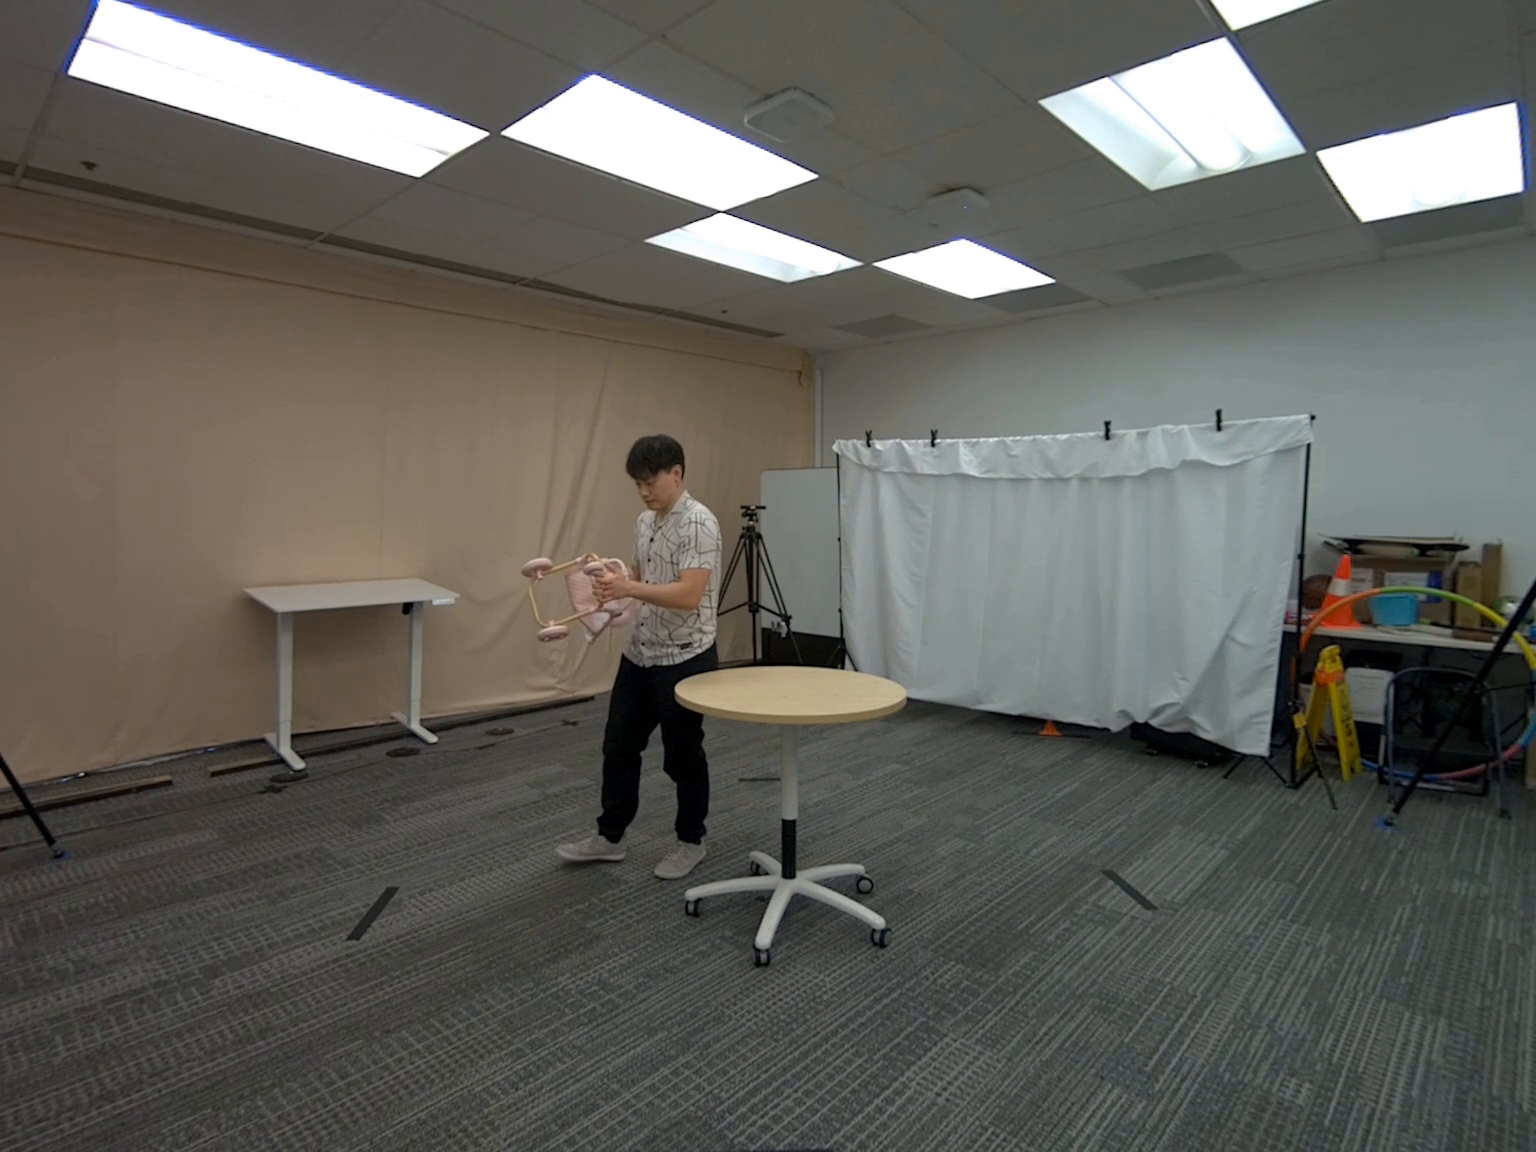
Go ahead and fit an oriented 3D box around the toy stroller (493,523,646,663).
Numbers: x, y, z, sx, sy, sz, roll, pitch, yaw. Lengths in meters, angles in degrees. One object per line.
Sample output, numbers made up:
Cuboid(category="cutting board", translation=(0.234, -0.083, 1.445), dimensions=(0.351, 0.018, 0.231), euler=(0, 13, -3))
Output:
Cuboid(category="toy stroller", translation=(-0.653, 0.076, 3.019), dimensions=(0.344, 0.287, 0.521), euler=(-25, -19, 11))
